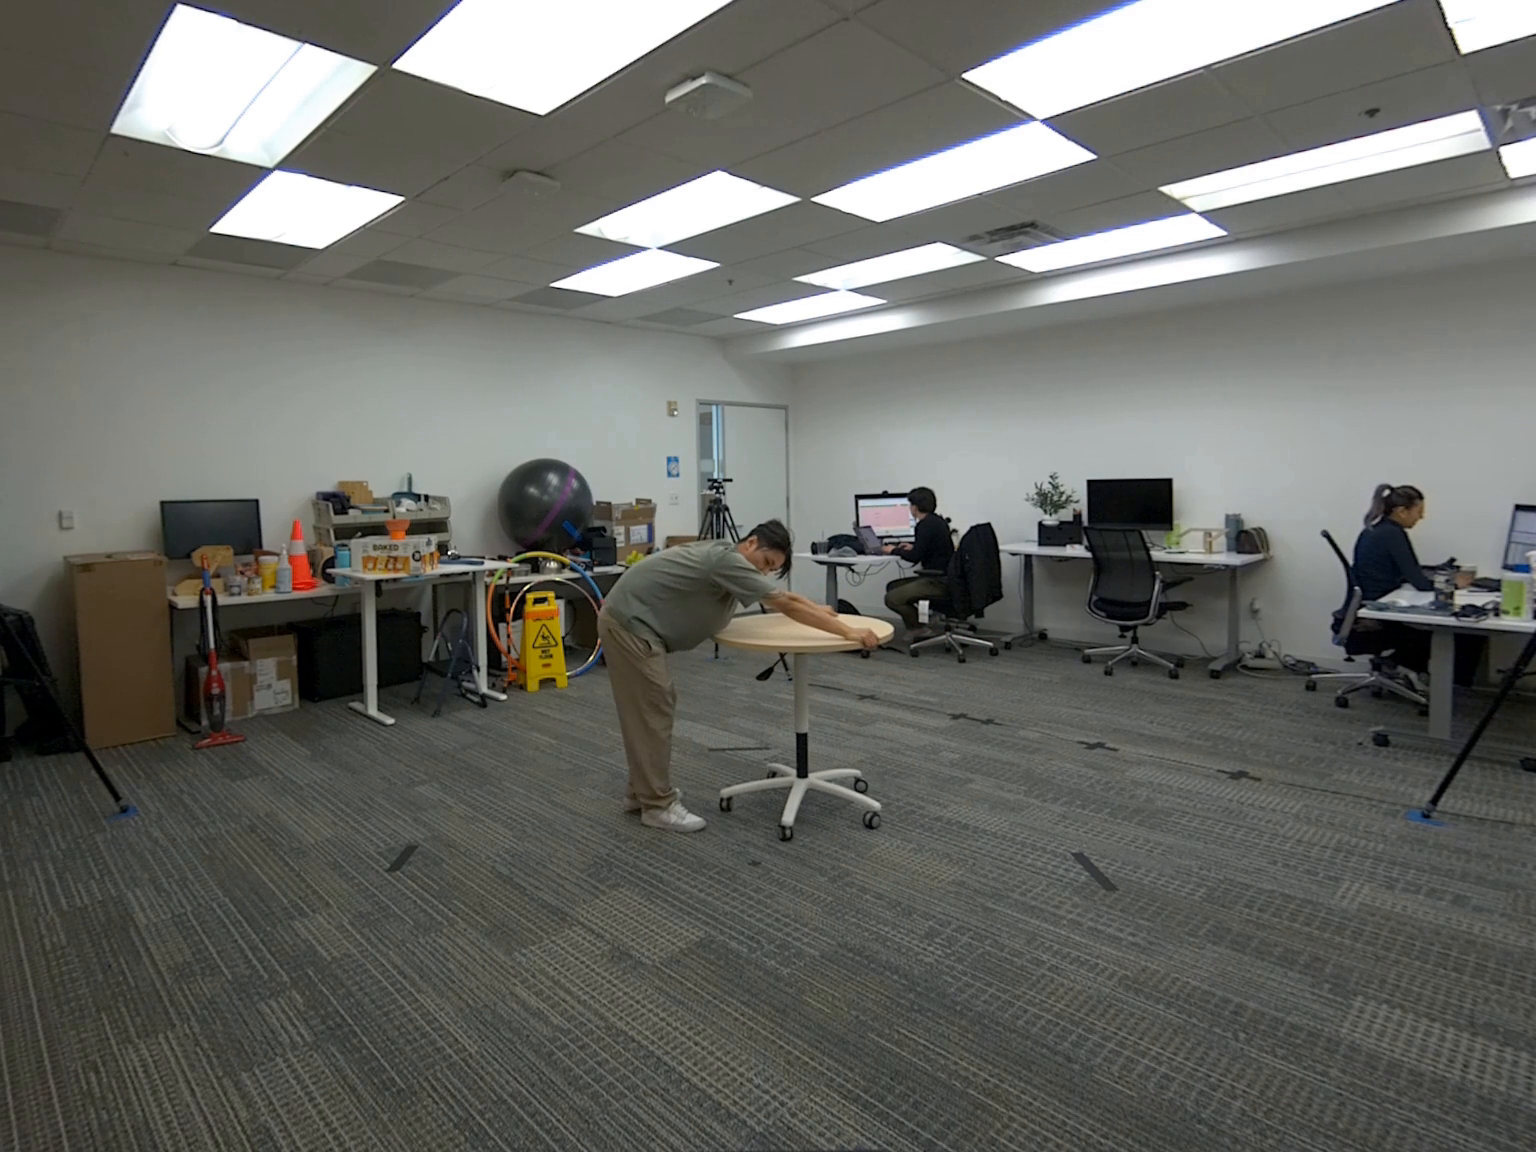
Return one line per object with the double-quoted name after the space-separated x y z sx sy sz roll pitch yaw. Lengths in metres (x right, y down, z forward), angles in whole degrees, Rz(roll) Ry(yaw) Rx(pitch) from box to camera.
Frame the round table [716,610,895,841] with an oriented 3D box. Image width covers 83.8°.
0.141 0.594 3.601 0.784 0.783 0.789 -1 5 -2 "round table"
